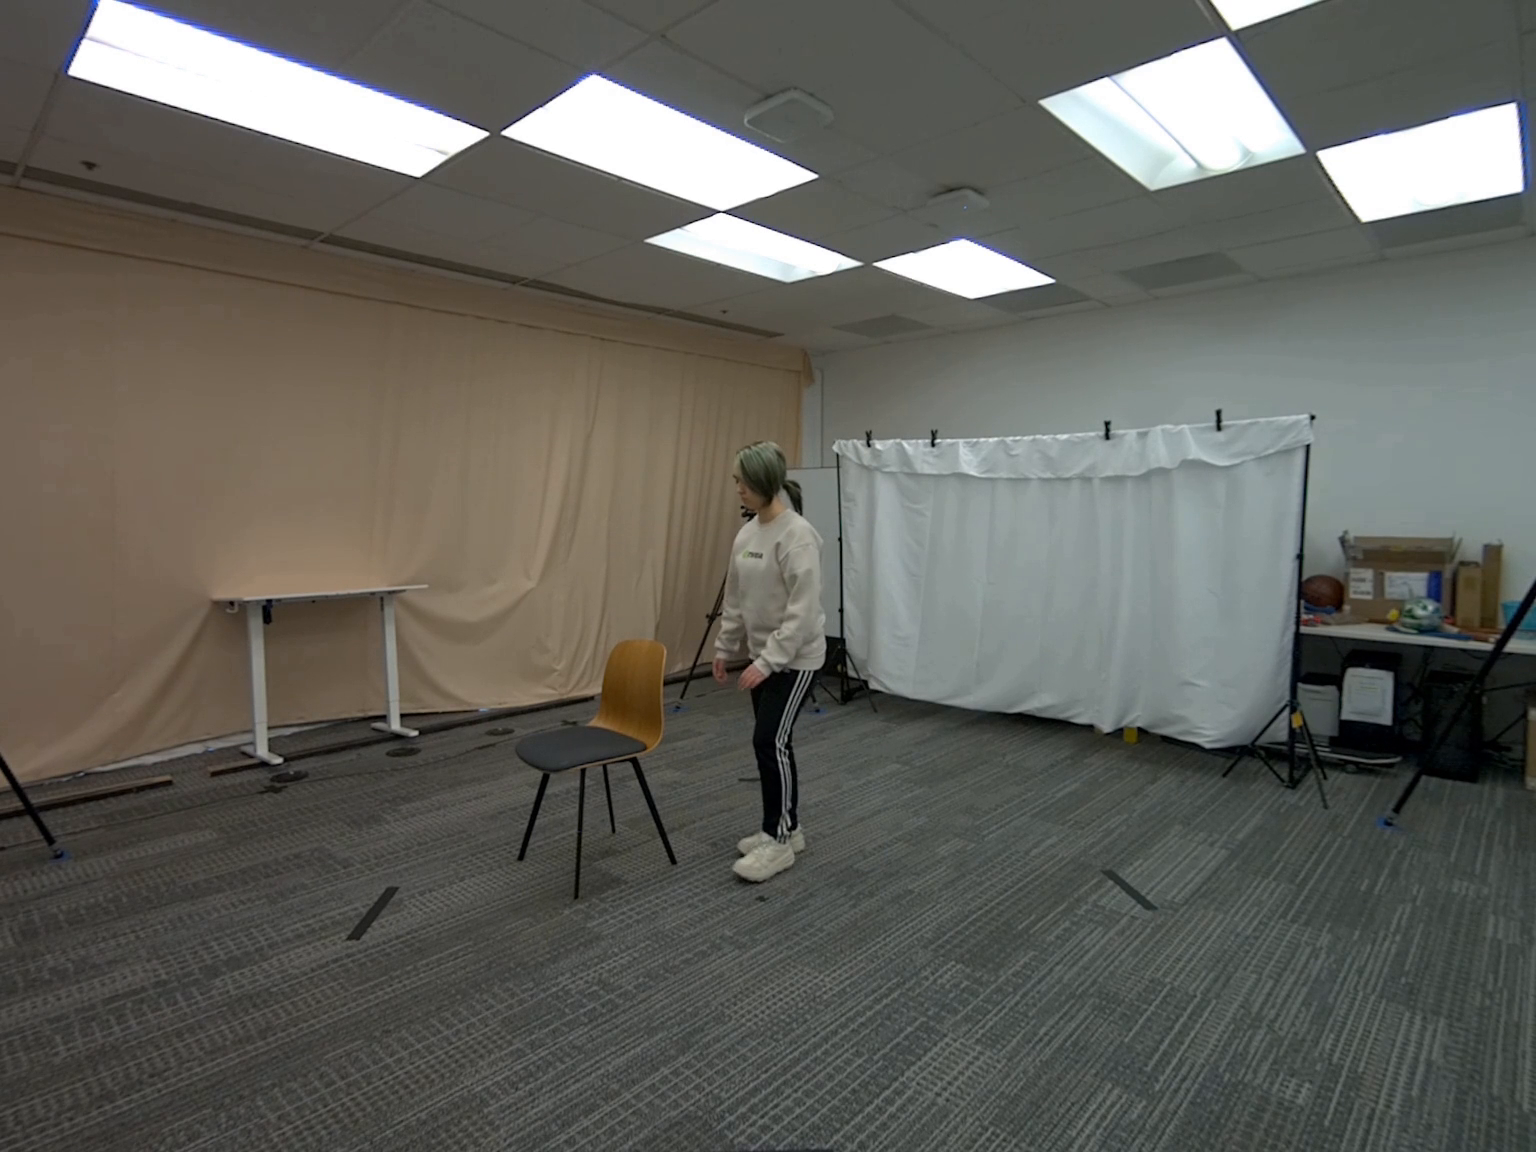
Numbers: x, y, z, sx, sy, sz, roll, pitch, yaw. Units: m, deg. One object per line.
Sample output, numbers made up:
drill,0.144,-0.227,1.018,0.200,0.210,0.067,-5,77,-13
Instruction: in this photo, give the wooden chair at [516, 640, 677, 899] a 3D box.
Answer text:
wooden chair,-0.682,0.702,3.272,0.506,0.877,0.494,2,1,-42
